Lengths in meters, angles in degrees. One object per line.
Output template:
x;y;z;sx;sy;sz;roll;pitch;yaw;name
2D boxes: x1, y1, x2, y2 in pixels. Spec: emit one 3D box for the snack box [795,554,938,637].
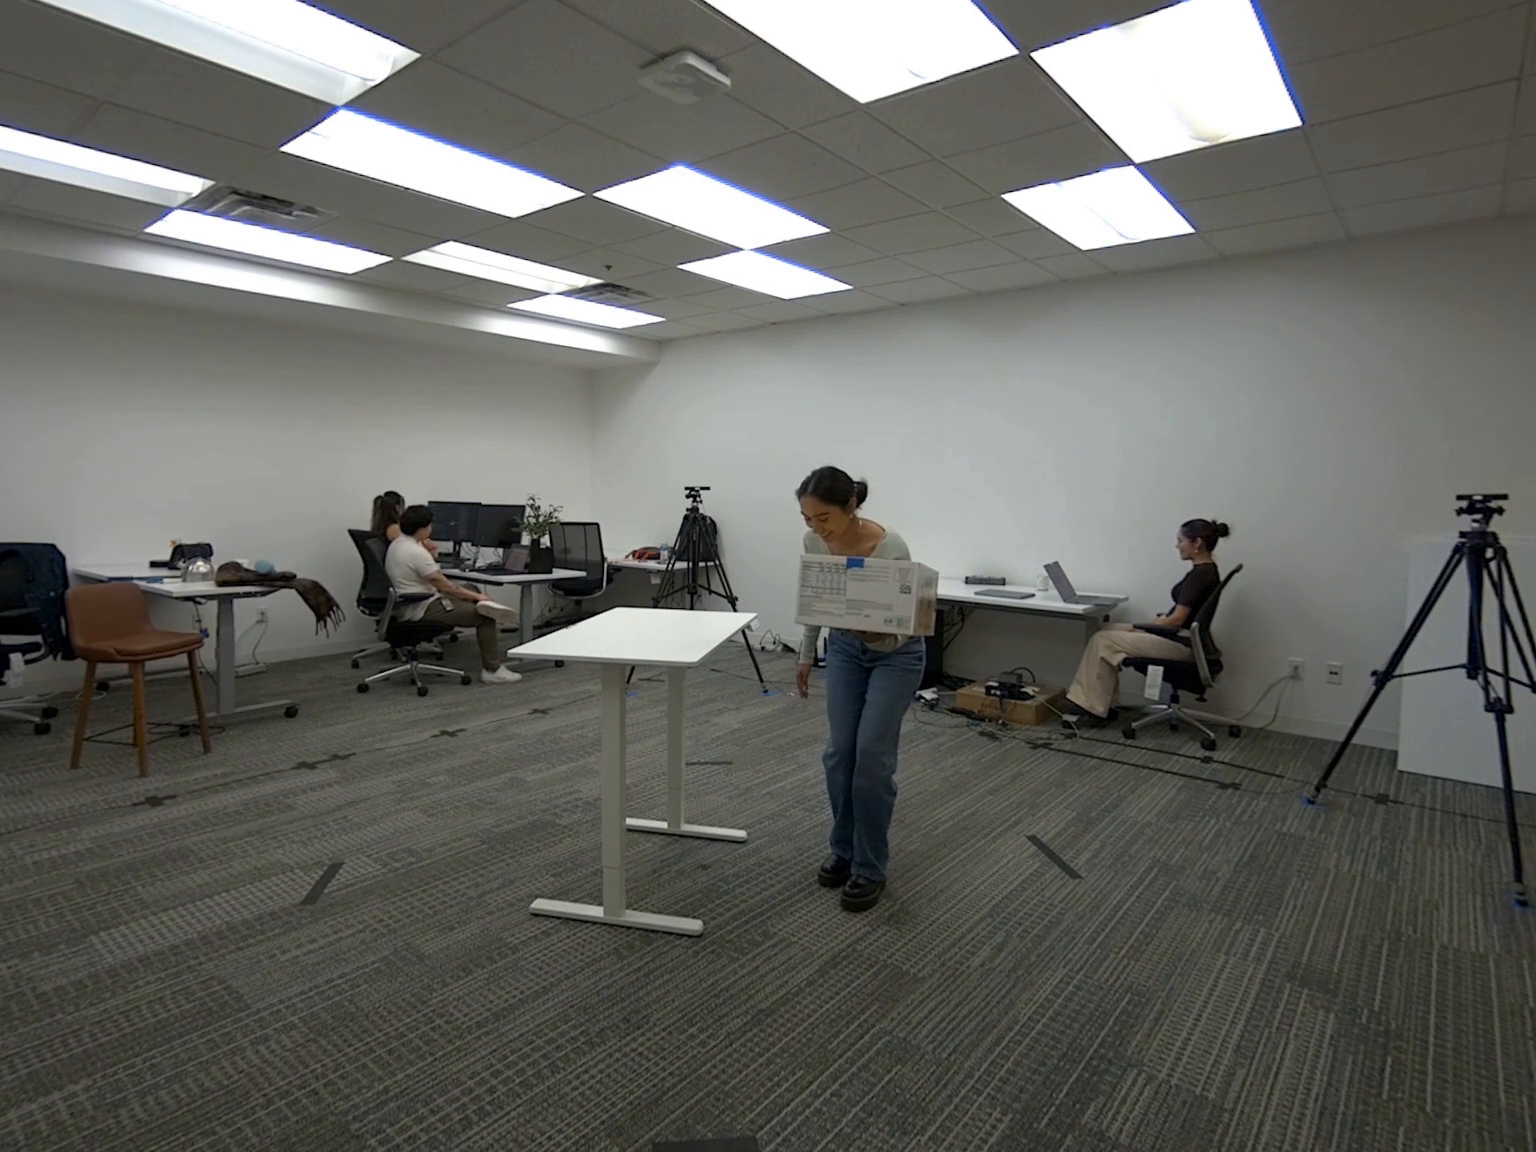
0.300;0.062;2.542;0.348;0.206;0.395;4;-2;21;snack box
